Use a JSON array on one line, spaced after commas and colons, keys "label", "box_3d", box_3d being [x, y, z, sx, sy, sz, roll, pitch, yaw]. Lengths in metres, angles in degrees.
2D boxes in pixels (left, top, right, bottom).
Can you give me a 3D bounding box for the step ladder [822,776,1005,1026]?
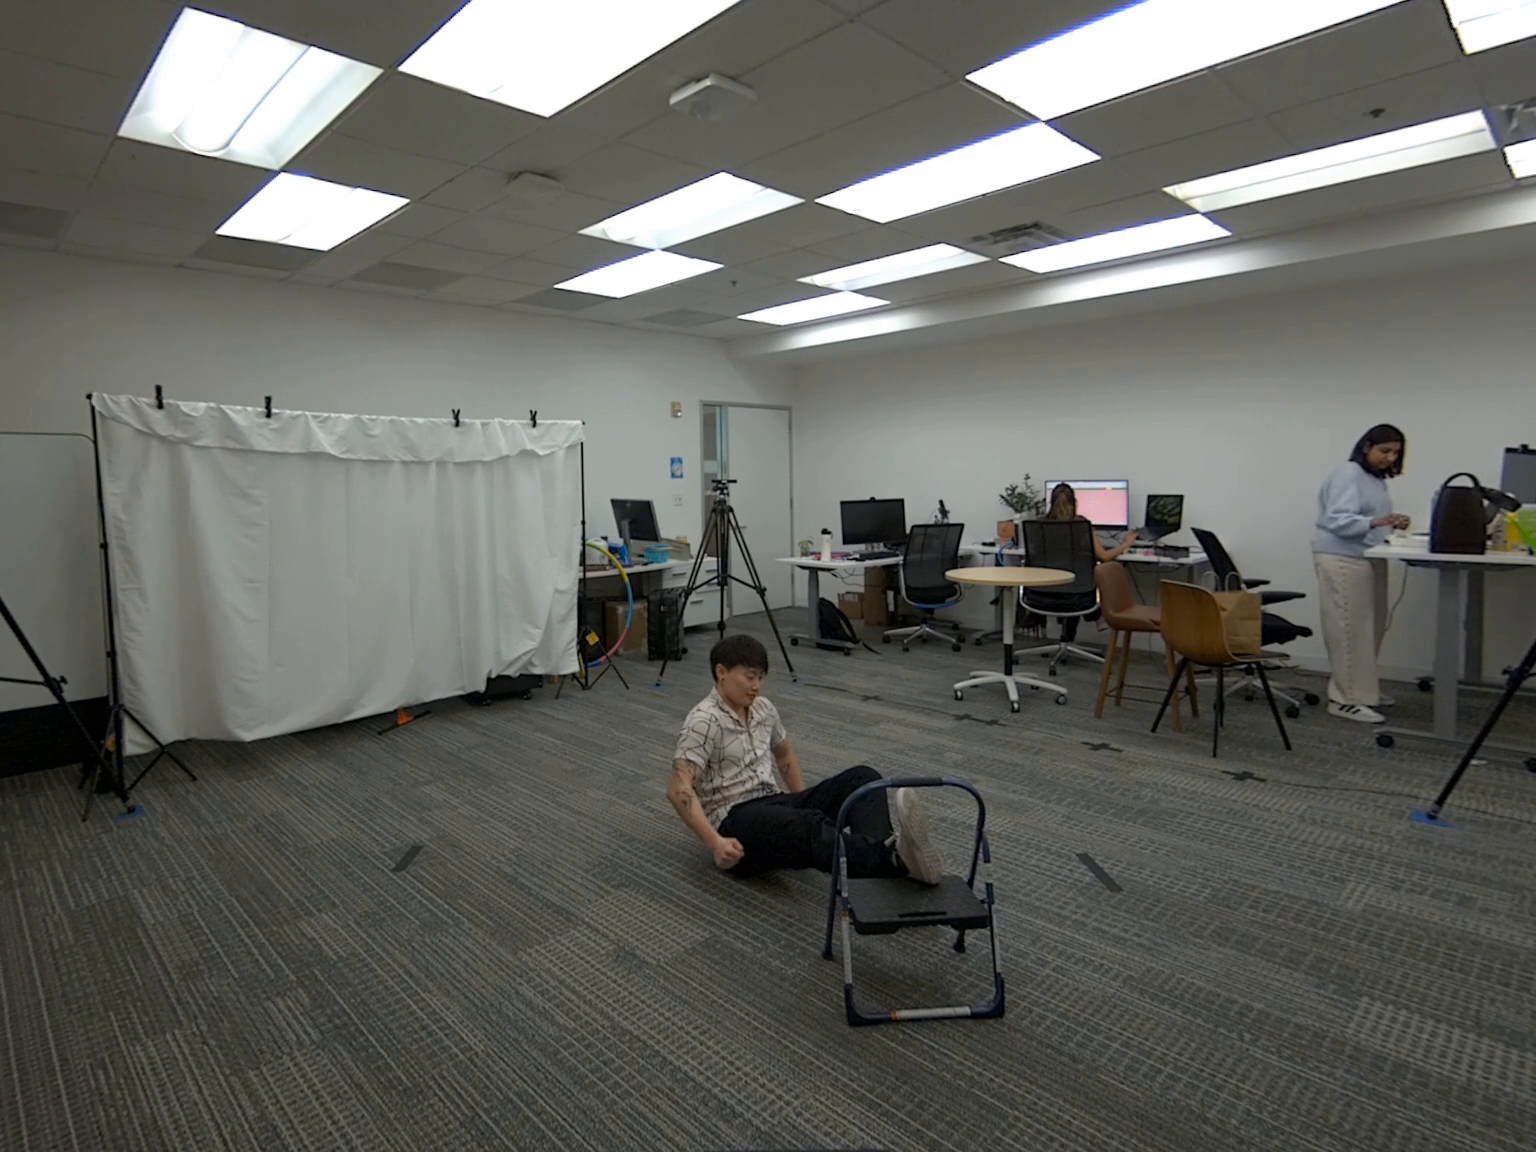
[{"label": "step ladder", "box_3d": [0.393, 0.834, 2.332, 0.428, 0.604, 0.352, -2, 3, -6]}]
